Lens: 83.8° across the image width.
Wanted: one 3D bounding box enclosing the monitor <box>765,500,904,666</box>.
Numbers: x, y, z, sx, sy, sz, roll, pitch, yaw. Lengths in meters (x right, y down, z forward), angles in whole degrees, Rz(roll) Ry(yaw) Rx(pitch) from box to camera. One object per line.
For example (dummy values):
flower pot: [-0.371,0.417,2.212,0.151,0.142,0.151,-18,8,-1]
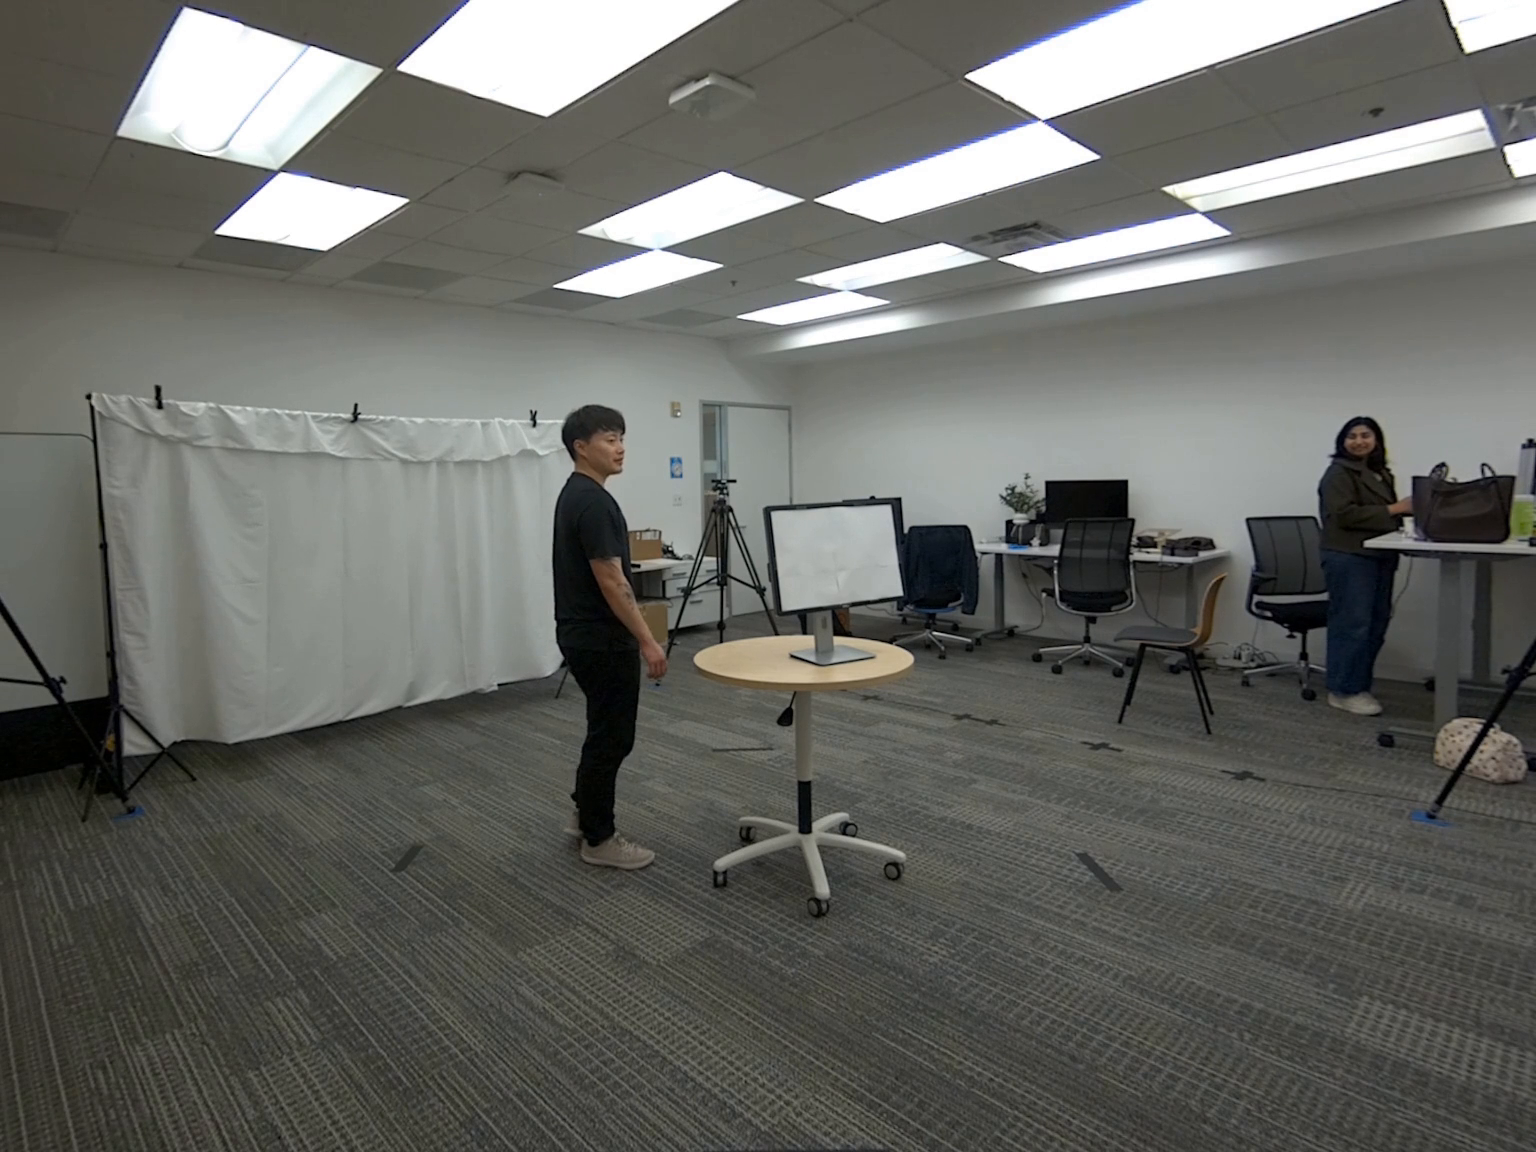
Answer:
monitor: [0.219,0.022,2.965,0.526,0.520,0.193,-5,7,-34]
